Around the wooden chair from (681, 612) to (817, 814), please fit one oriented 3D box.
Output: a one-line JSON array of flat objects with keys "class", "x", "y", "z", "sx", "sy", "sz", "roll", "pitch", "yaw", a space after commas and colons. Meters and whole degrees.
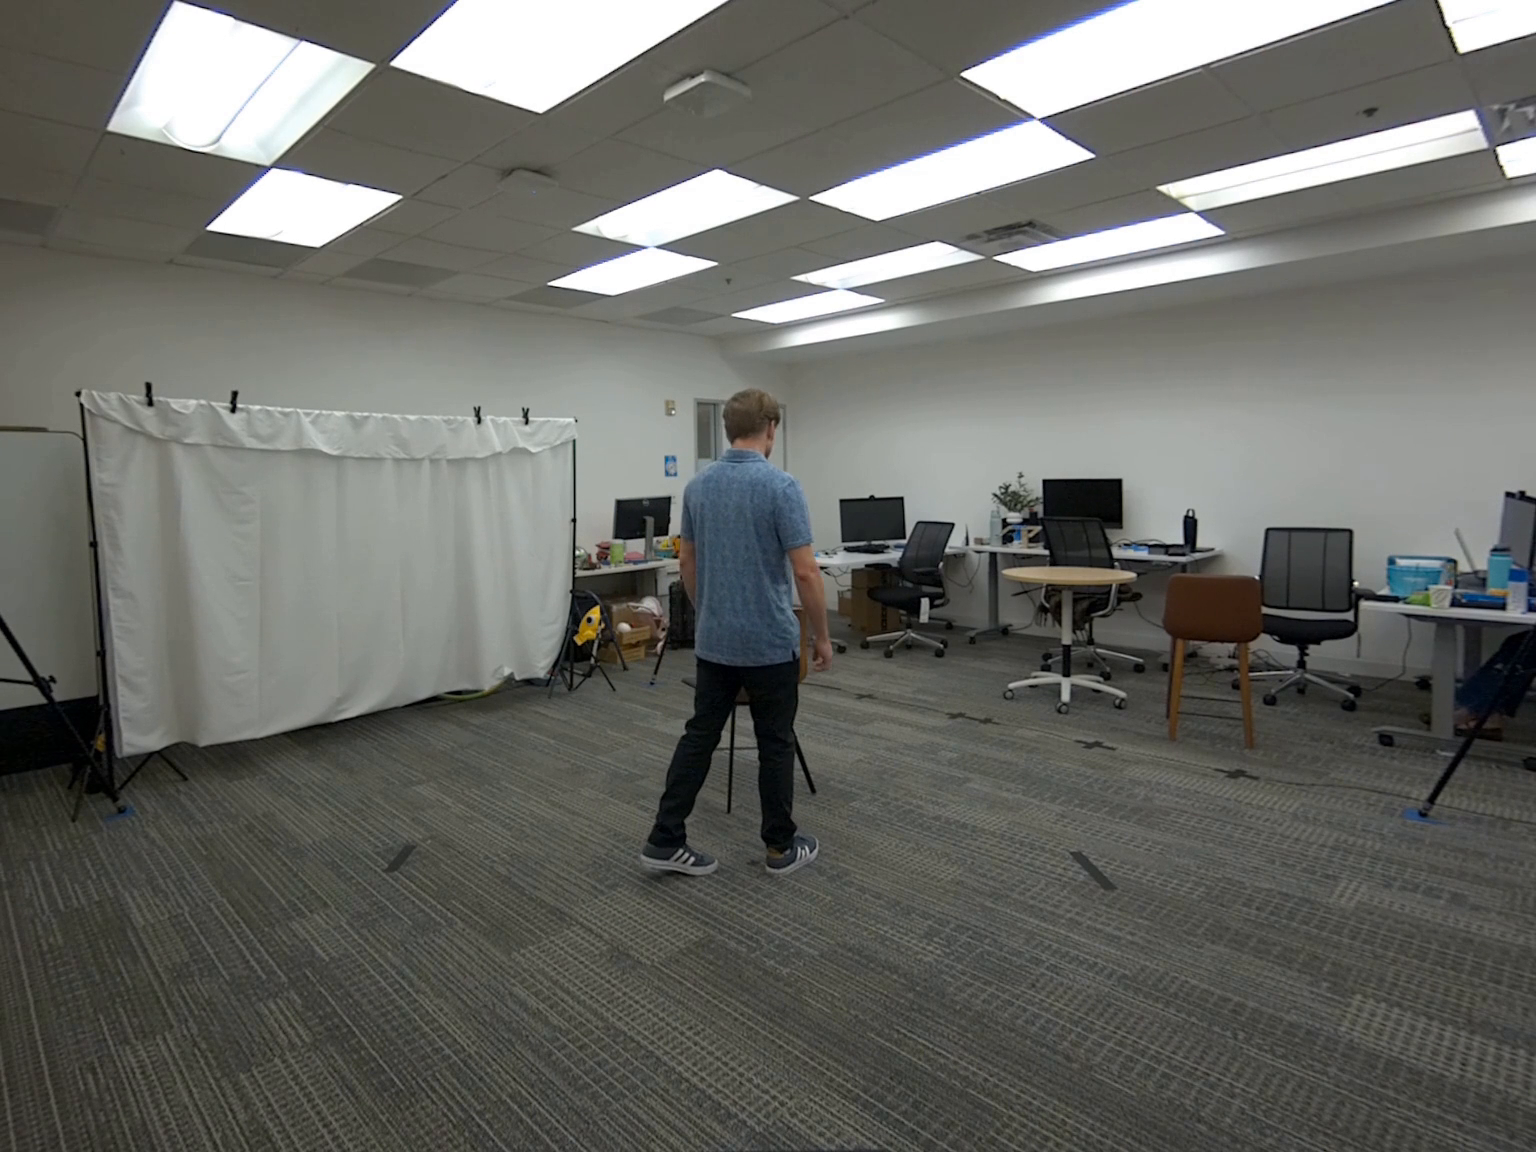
[{"class": "wooden chair", "x": -0.104, "y": 0.531, "z": 3.844, "sx": 0.467, "sy": 0.871, "sz": 0.539, "roll": -3, "pitch": 9, "yaw": -31}]
